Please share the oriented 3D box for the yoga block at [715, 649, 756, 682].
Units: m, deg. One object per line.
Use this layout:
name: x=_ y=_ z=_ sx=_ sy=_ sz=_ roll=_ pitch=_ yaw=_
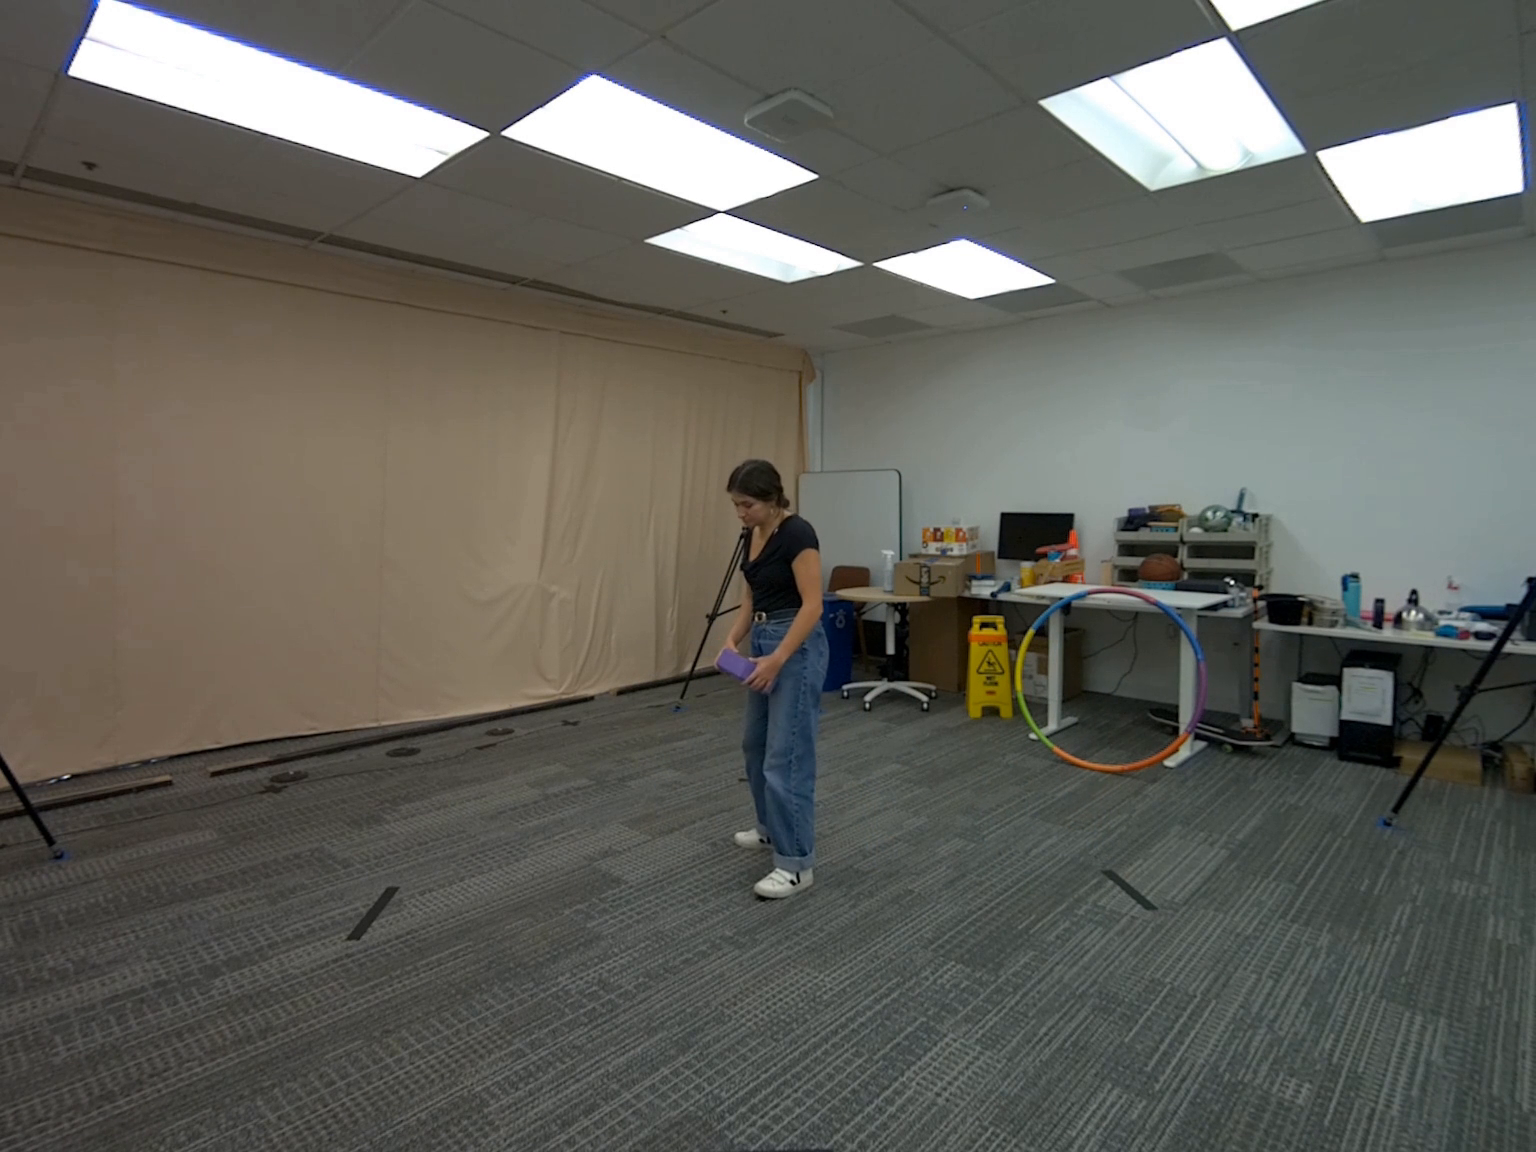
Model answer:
yoga block: x=-0.083 y=0.353 z=3.122 sx=0.145 sy=0.076 sz=0.235 roll=36 pitch=-7 yaw=-22
